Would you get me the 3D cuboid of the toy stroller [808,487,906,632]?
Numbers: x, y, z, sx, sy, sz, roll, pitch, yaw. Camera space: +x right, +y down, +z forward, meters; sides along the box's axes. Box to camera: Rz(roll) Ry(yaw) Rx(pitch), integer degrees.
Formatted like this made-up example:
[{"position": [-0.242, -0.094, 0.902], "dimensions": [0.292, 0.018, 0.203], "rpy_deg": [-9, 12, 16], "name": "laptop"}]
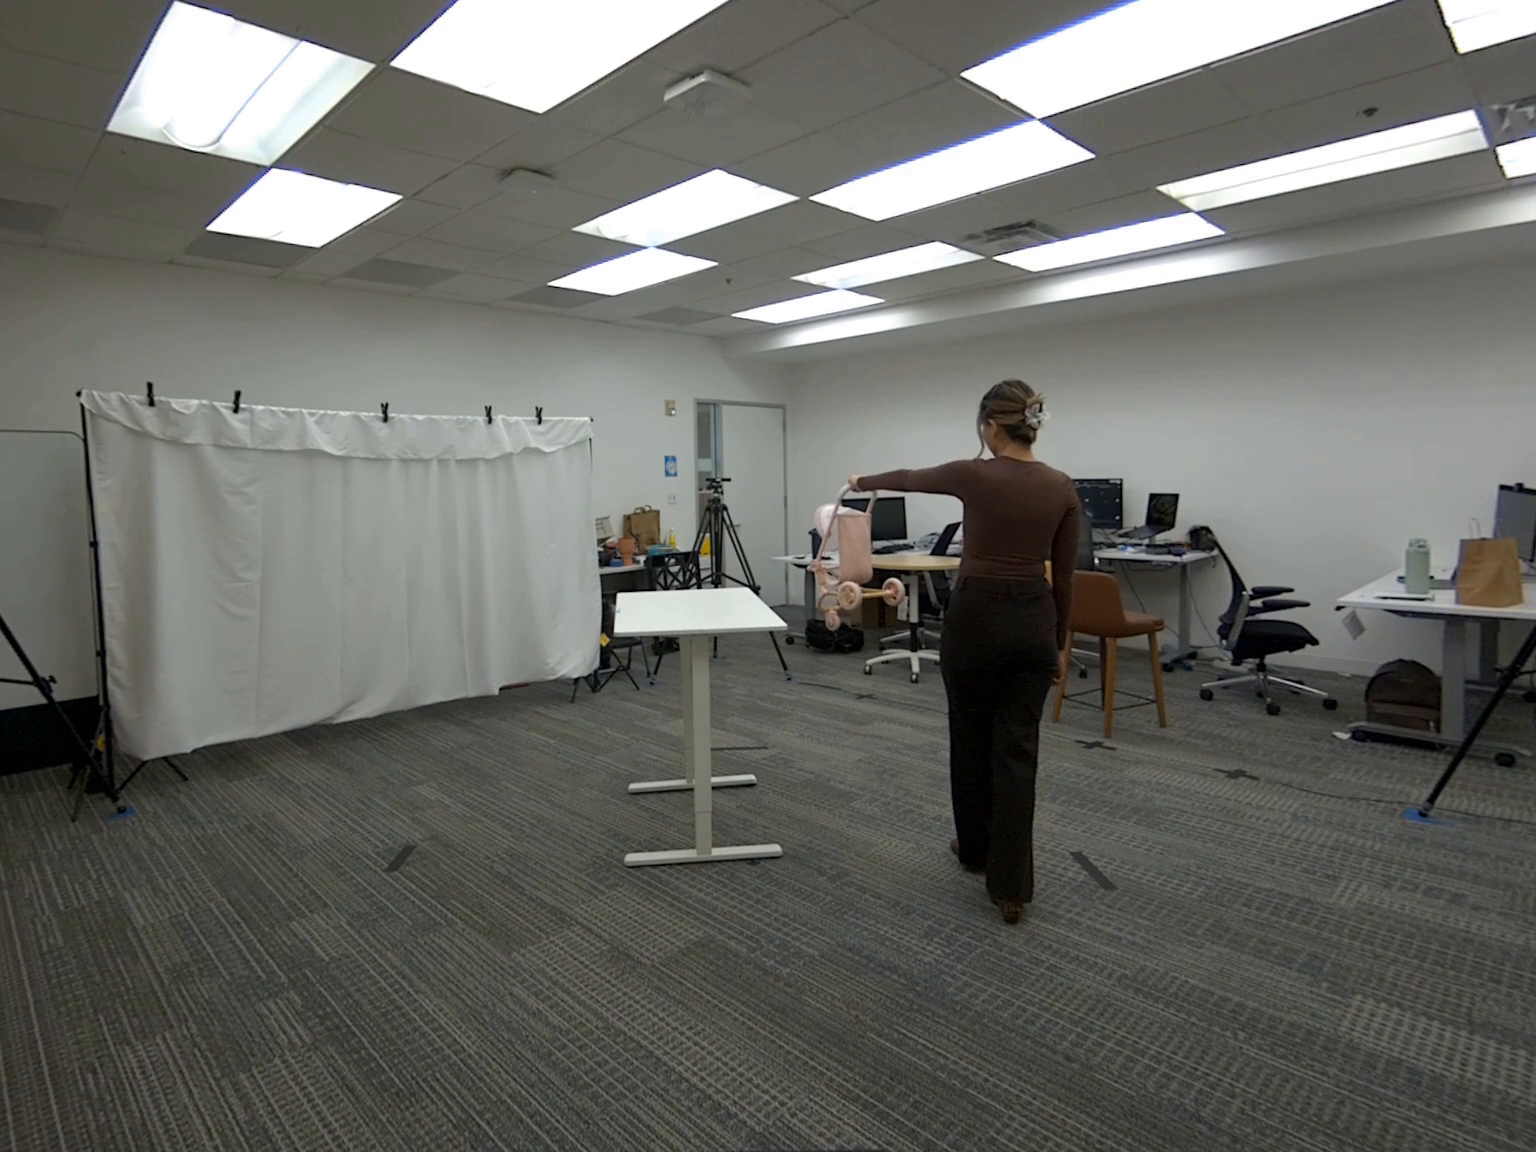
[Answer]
[{"position": [0.314, -0.063, 3.394], "dimensions": [0.274, 0.540, 0.347], "rpy_deg": [-4, -9, -36], "name": "toy stroller"}]
